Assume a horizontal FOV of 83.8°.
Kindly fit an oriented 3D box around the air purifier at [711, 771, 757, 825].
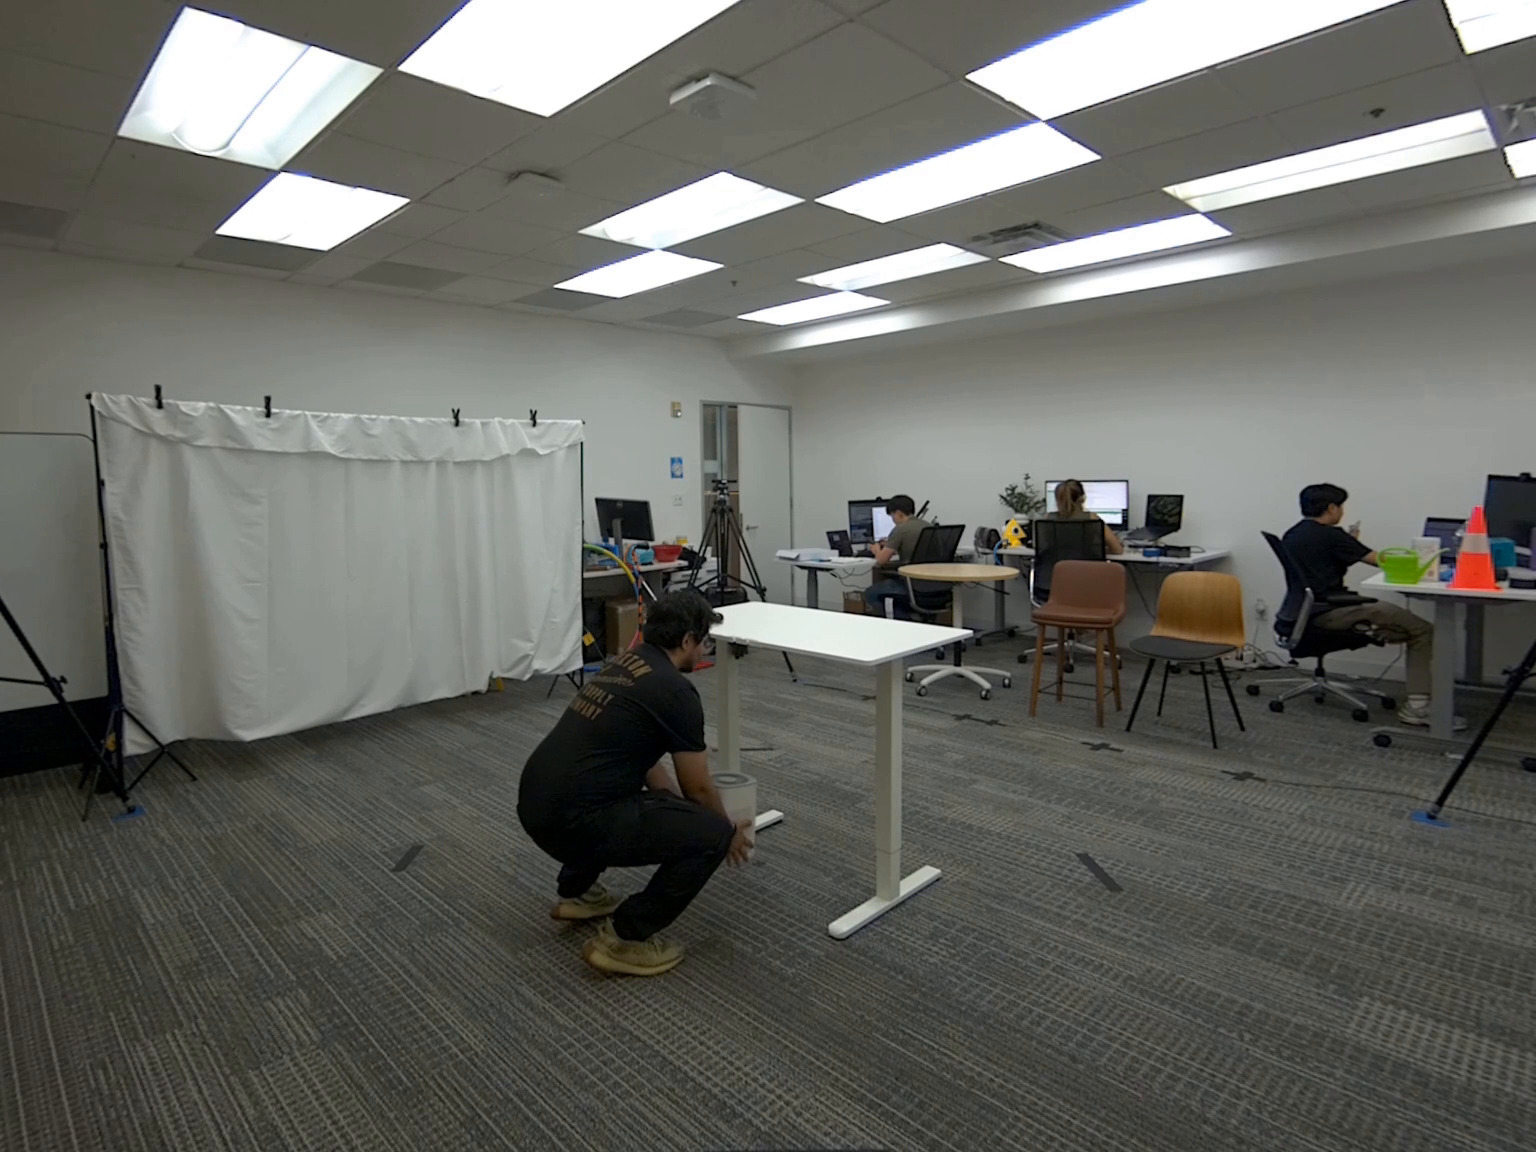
[{"bbox_3d":[-0.146,0.810,2.849,0.167,0.265,0.176,2,2,-38],"label":"air purifier"}]
